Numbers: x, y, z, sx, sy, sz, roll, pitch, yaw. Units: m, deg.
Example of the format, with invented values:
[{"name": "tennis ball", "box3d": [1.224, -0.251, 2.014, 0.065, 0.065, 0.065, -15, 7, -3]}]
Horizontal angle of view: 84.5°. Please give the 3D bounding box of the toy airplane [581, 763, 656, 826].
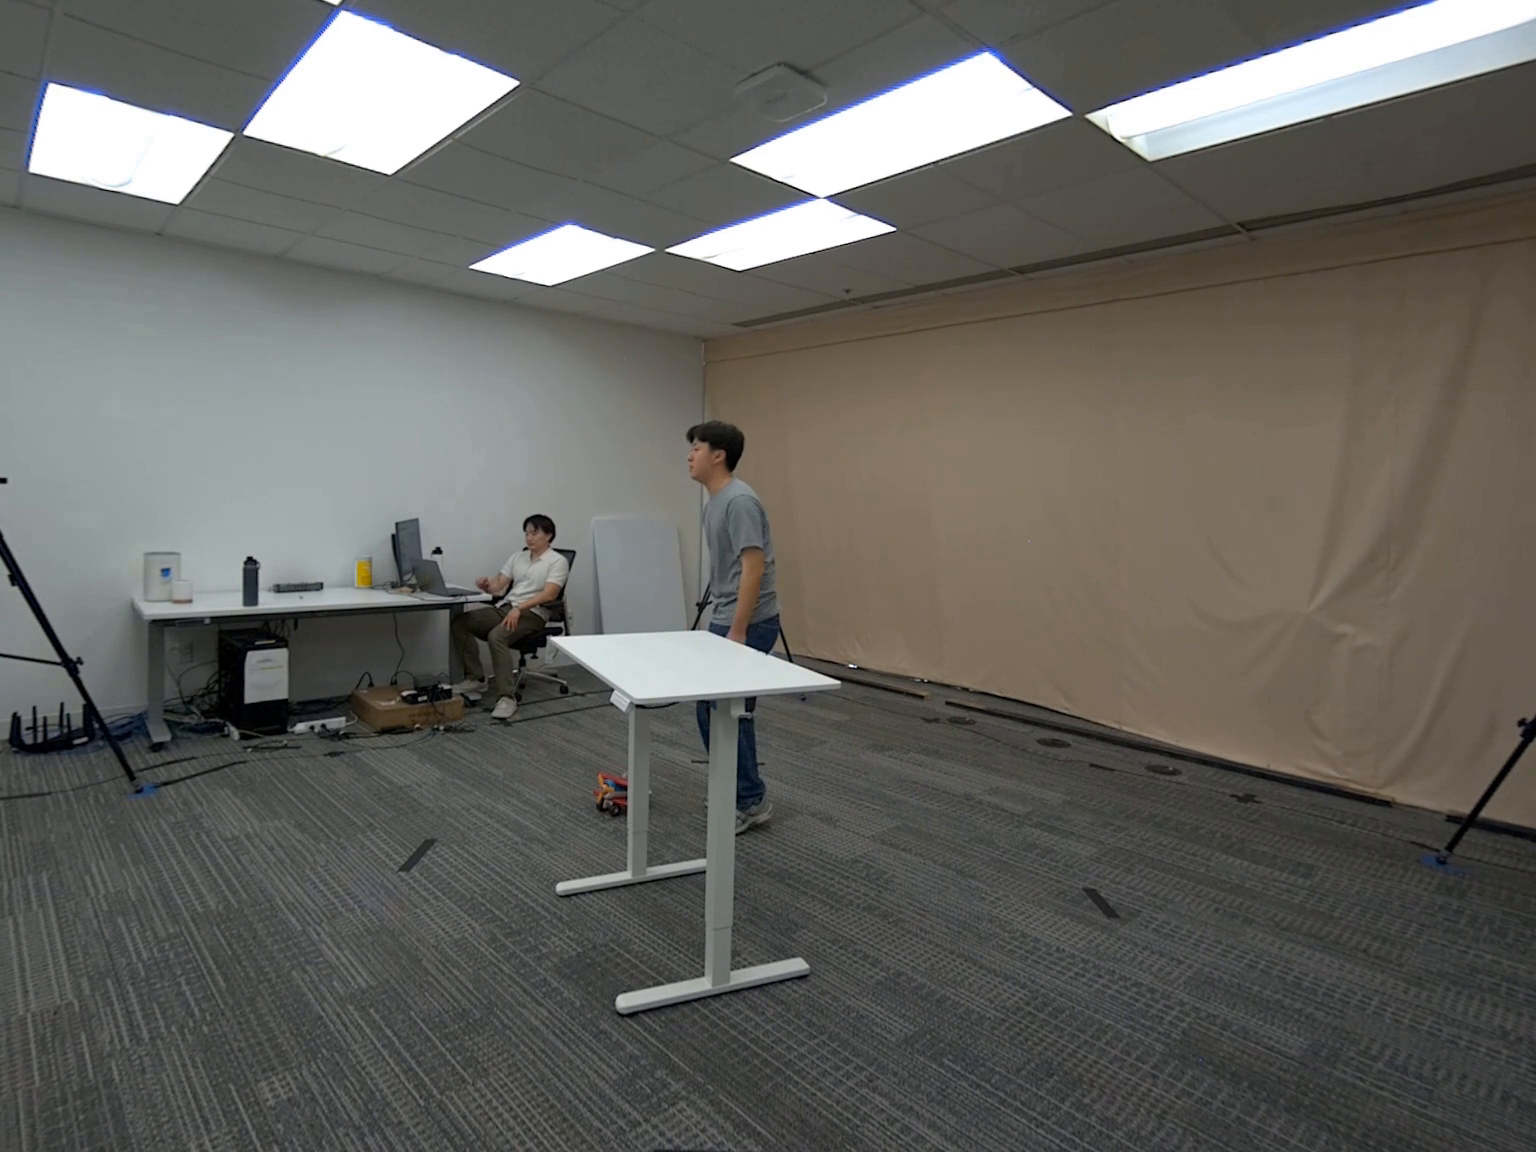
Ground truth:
[{"name": "toy airplane", "box3d": [-0.663, 0.962, 3.755, 0.253, 0.156, 0.258, 3, 6, 10]}]
